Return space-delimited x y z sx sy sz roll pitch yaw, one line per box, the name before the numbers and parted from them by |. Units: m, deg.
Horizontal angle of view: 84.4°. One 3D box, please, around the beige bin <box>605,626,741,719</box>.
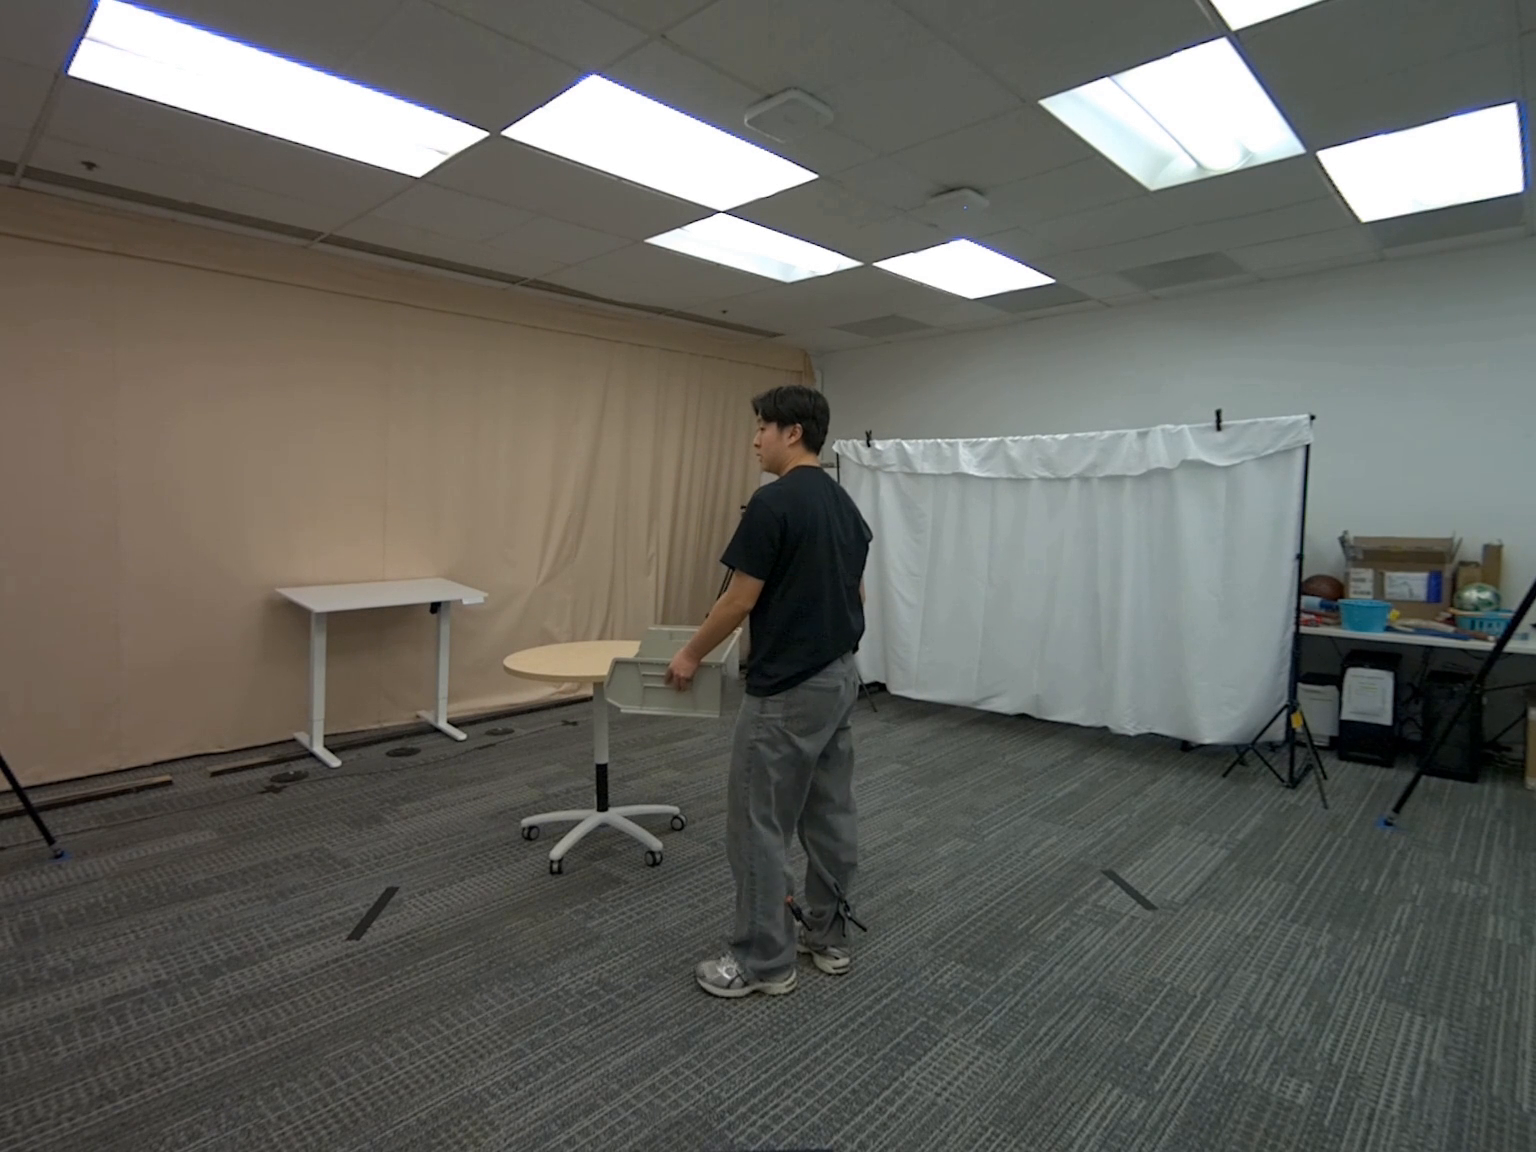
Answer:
beige bin | -0.297 0.304 2.772 0.380 0.188 0.421 3 10 6
